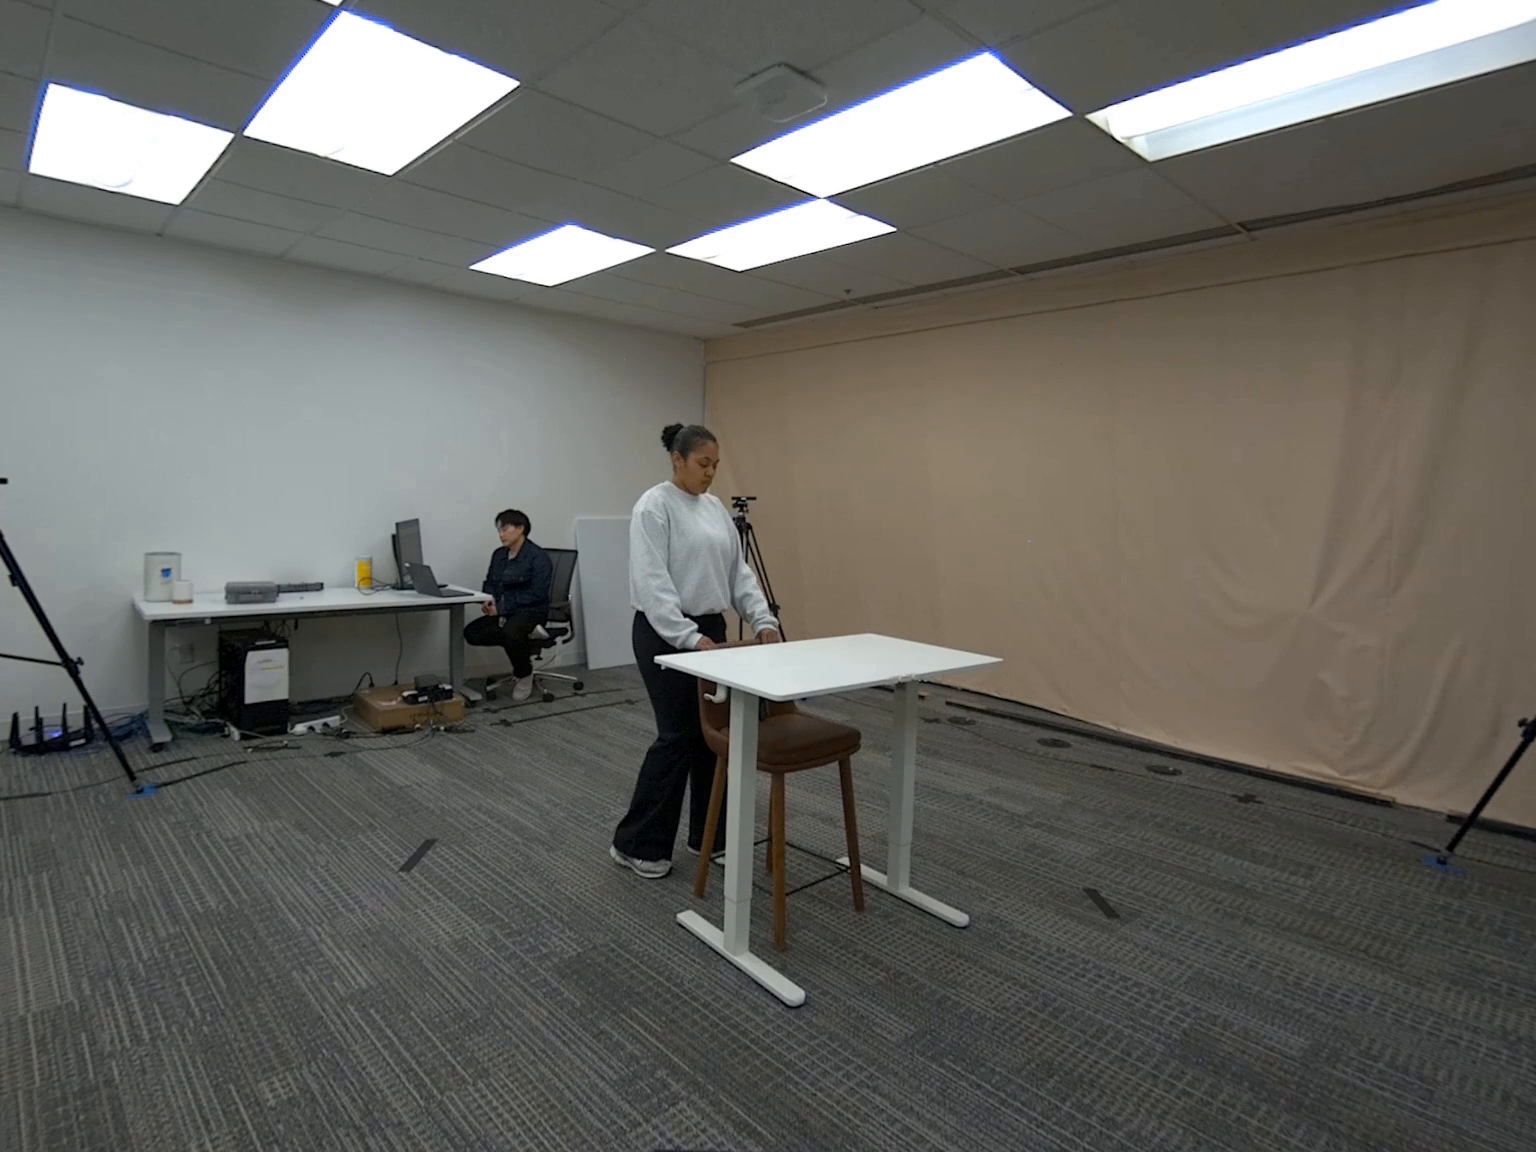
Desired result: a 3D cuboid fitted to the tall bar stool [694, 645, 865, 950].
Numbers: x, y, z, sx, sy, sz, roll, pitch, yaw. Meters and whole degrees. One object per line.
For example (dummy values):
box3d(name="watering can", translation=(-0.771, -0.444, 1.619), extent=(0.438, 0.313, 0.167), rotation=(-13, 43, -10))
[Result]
box3d(name="tall bar stool", translation=(0.024, 0.693, 2.885), extent=(0.446, 0.888, 0.479), rotation=(-3, 3, -42))
